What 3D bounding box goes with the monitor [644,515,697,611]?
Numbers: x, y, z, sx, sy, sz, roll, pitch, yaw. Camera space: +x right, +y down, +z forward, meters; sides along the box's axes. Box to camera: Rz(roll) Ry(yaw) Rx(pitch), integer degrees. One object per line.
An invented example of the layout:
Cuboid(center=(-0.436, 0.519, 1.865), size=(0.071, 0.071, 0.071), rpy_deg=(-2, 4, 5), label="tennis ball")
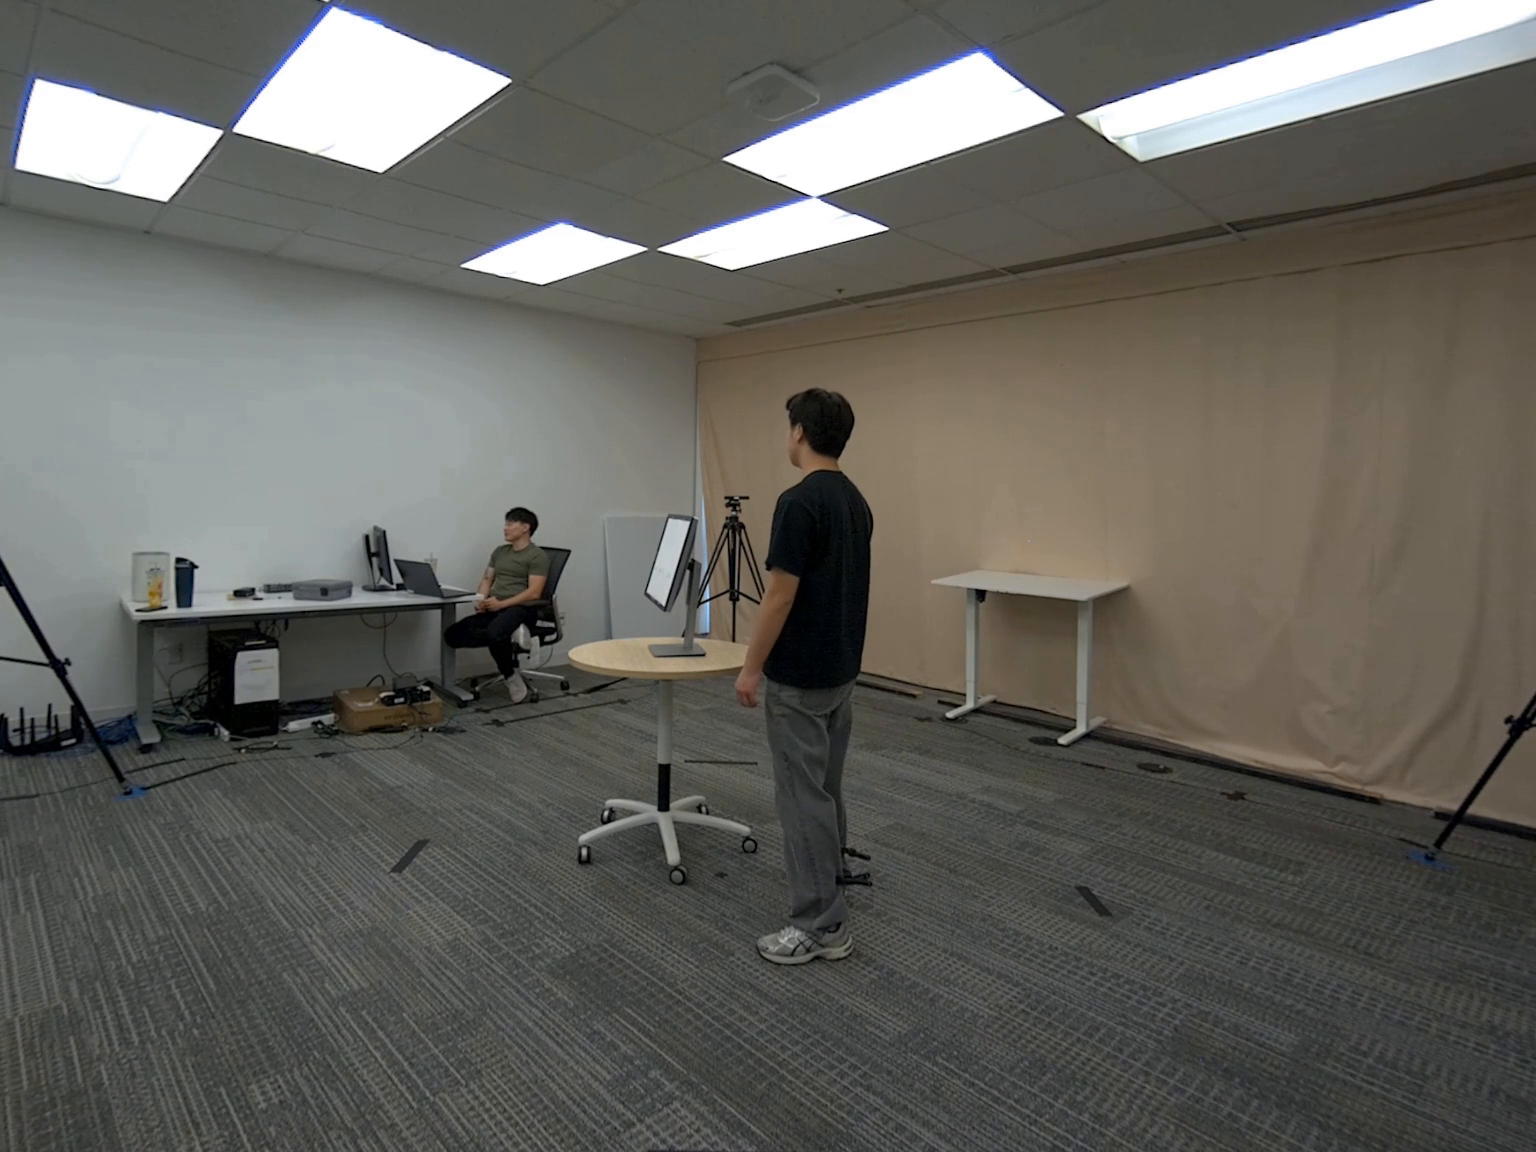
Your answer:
Cuboid(center=(-0.375, 0.039, 3.344), size=(0.220, 0.565, 0.568), rpy_deg=(0, 4, -12), label="monitor")
